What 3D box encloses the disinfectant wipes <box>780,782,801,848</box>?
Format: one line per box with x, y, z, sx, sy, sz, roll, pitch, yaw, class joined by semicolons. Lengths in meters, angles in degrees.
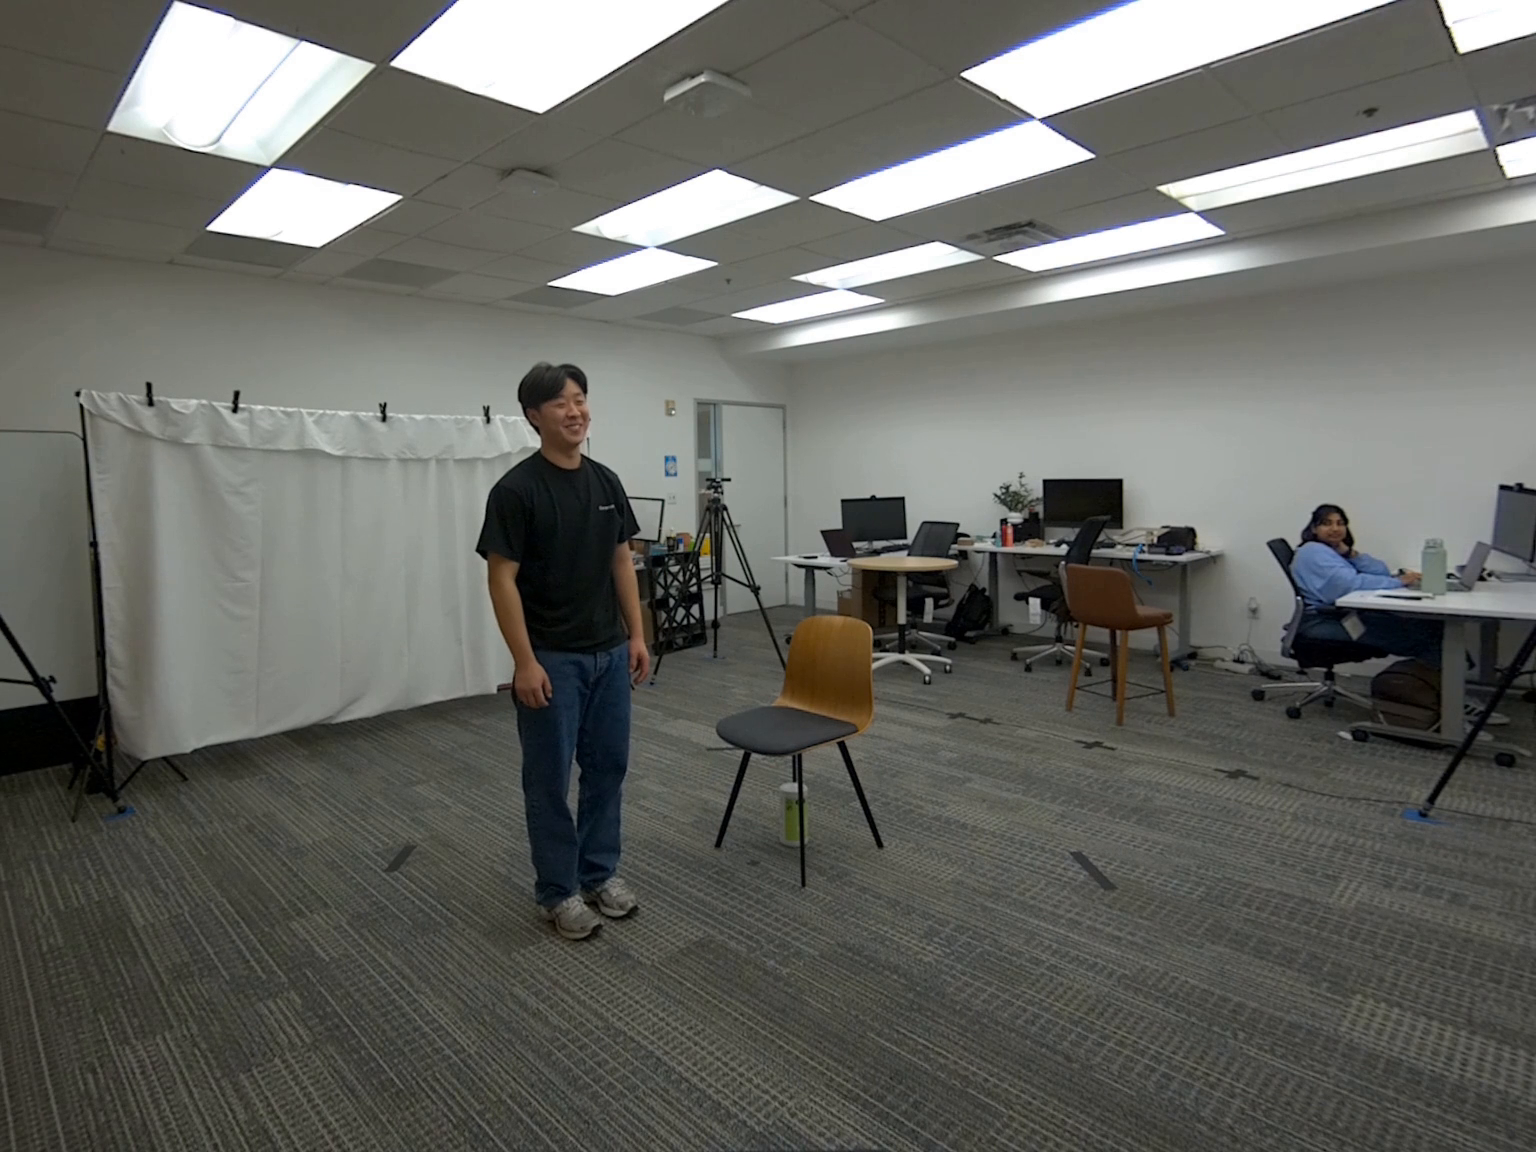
0.099;0.912;3.278;0.118;0.217;0.118;-2;4;-2;disinfectant wipes
